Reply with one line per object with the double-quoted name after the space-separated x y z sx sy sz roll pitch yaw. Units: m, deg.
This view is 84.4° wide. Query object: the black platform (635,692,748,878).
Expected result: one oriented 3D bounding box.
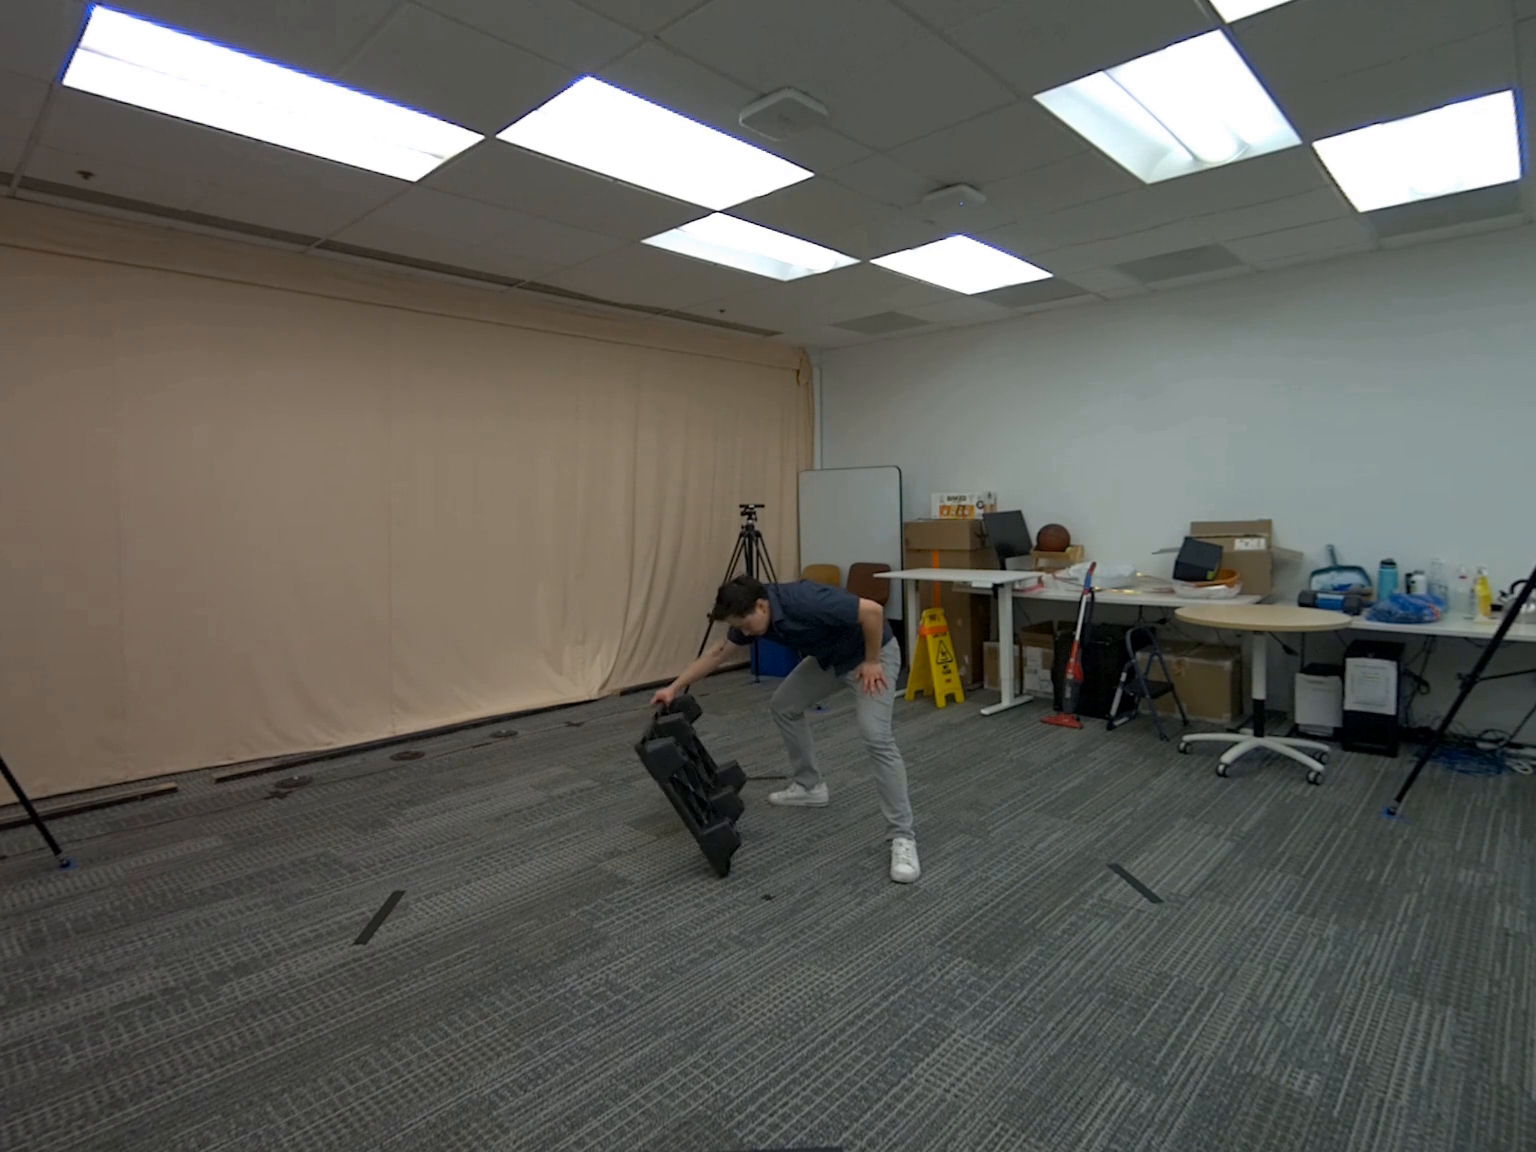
-0.279 0.810 3.508 0.143 0.603 0.807 -34 4 3 "black platform"
